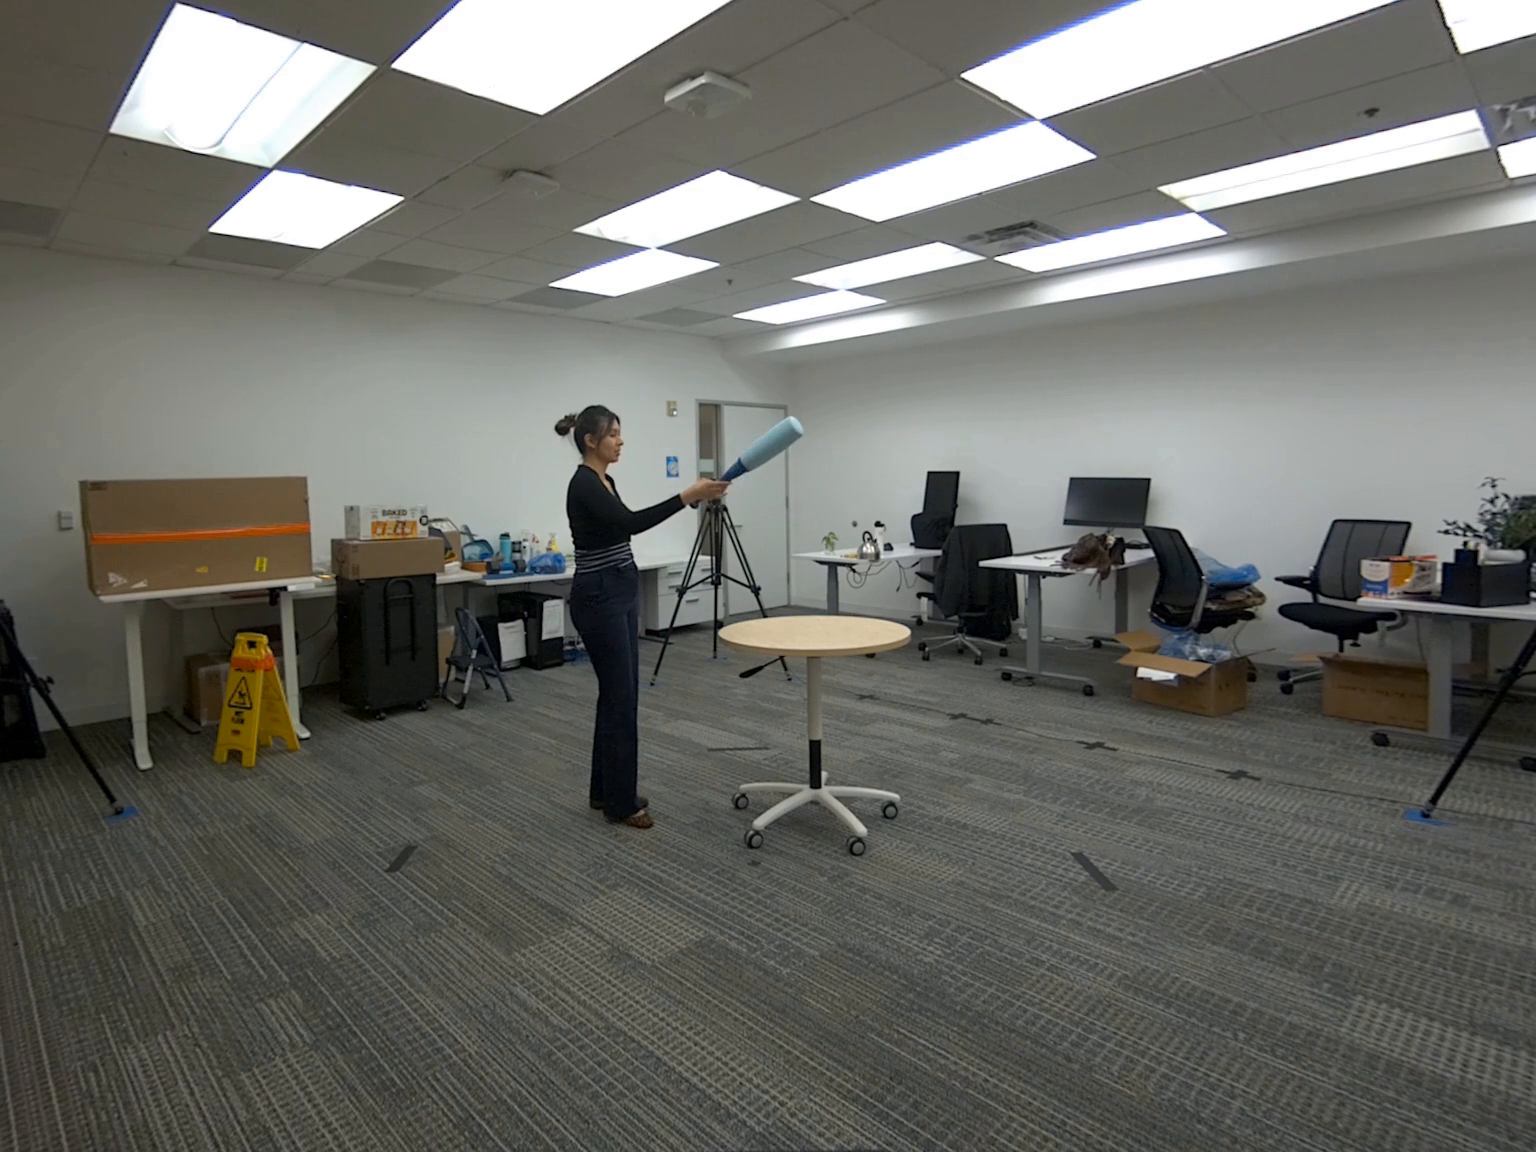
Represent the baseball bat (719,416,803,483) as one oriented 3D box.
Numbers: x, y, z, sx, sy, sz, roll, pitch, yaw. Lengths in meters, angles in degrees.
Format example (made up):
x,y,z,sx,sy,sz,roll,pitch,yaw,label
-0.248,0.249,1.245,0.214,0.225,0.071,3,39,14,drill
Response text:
x,y,z,sx,sy,sz,roll,pitch,yaw,label
-0.094,-0.401,3.167,0.547,0.090,0.087,-33,-11,26,baseball bat
